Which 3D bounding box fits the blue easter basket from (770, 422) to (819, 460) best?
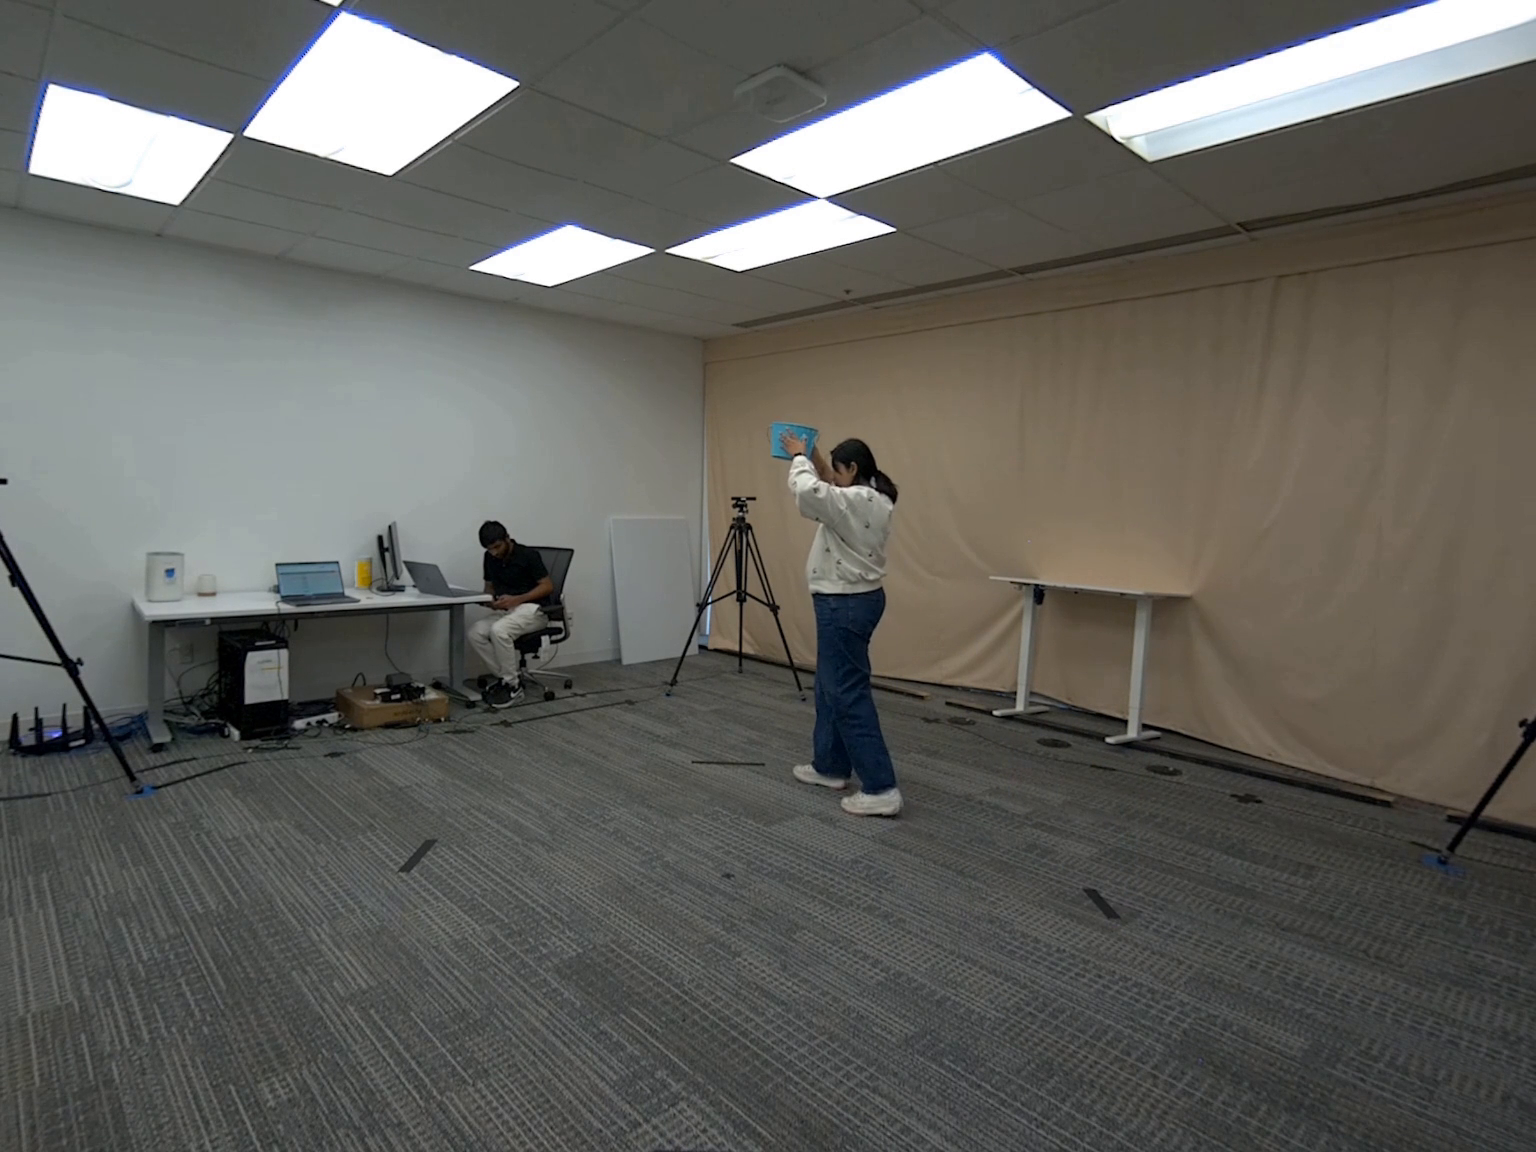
[{"bbox_3d":[0.113,-0.641,4.029,0.243,0.155,0.244,8,3,-2],"label":"blue easter basket"}]
